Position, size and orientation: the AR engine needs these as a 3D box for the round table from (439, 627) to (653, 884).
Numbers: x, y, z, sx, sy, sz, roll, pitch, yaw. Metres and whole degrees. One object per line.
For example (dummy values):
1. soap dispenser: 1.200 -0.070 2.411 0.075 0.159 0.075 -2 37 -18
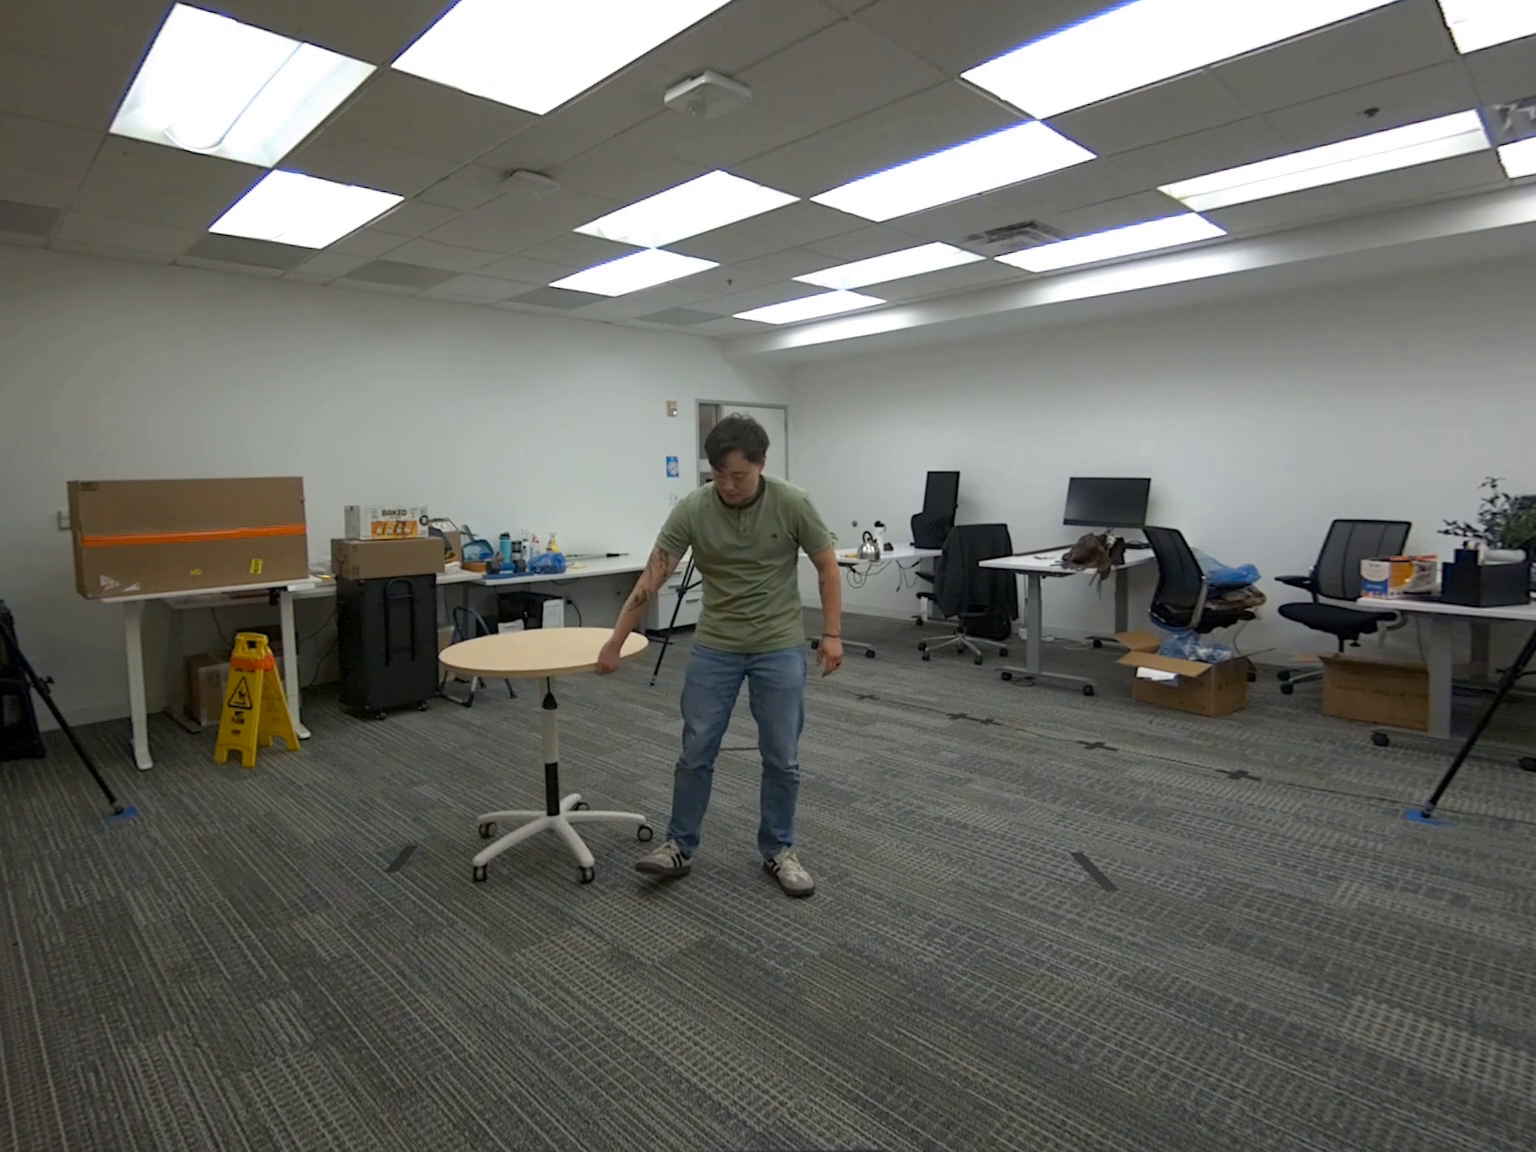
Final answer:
1. round table: -0.805 0.654 3.225 0.763 0.790 0.768 -2 5 -2
